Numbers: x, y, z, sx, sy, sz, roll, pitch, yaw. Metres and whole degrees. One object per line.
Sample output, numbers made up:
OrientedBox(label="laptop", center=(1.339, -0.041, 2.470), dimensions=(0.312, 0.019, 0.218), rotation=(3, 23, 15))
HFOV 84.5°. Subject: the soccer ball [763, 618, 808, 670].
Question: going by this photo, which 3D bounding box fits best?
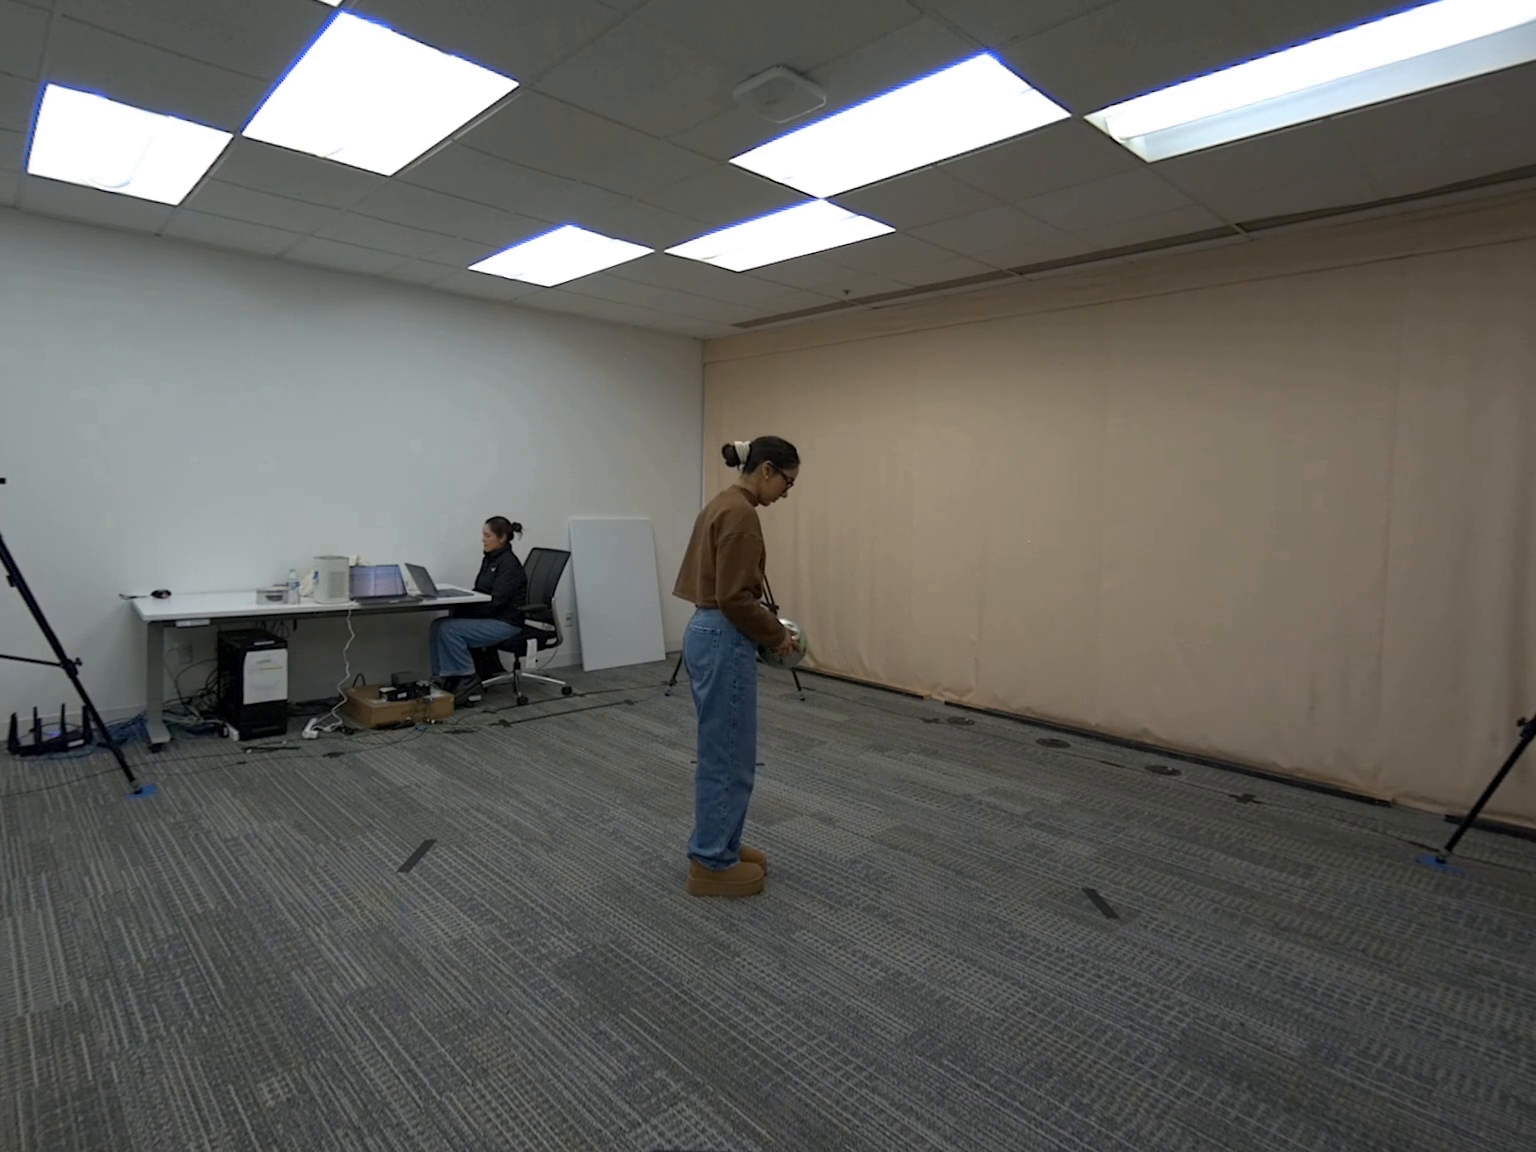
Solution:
OrientedBox(label="soccer ball", center=(0.045, 0.243, 3.067), dimensions=(0.187, 0.187, 0.188), rotation=(1, 4, -1))
